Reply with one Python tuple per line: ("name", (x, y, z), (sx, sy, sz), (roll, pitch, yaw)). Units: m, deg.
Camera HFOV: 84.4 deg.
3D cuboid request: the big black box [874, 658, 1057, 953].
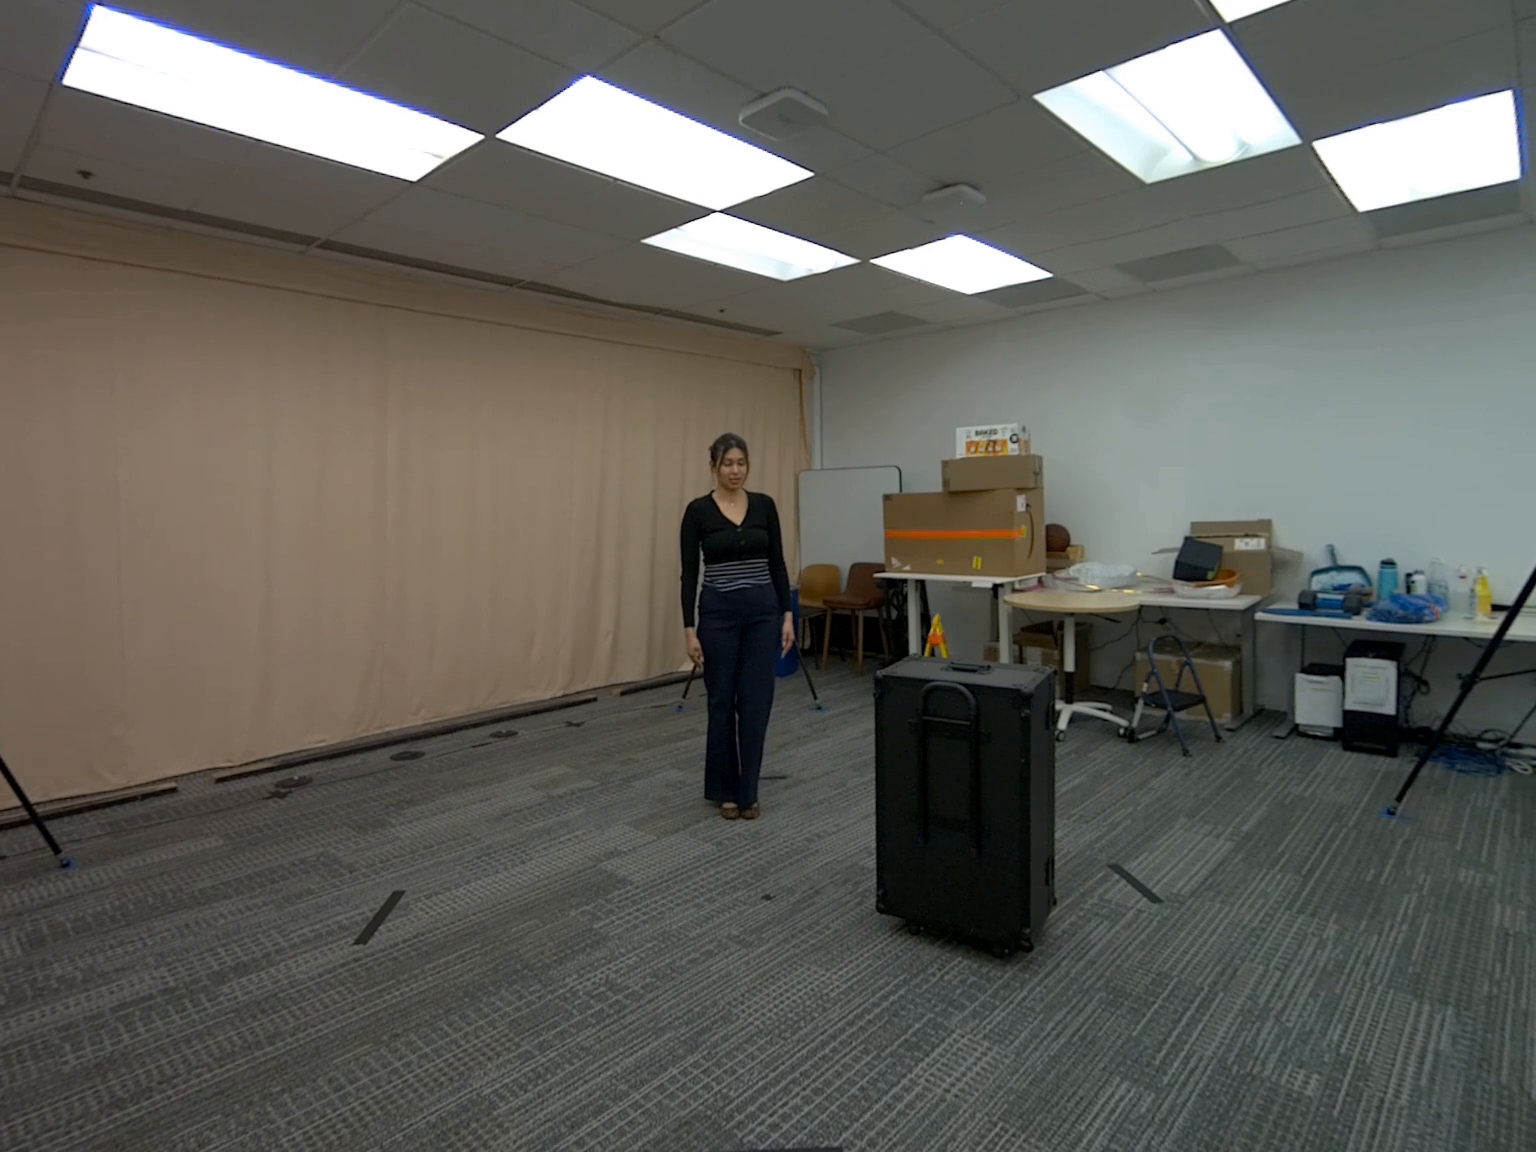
("big black box", (0.642, 0.727, 2.702), (0.537, 0.859, 0.386), (2, 5, 32))
